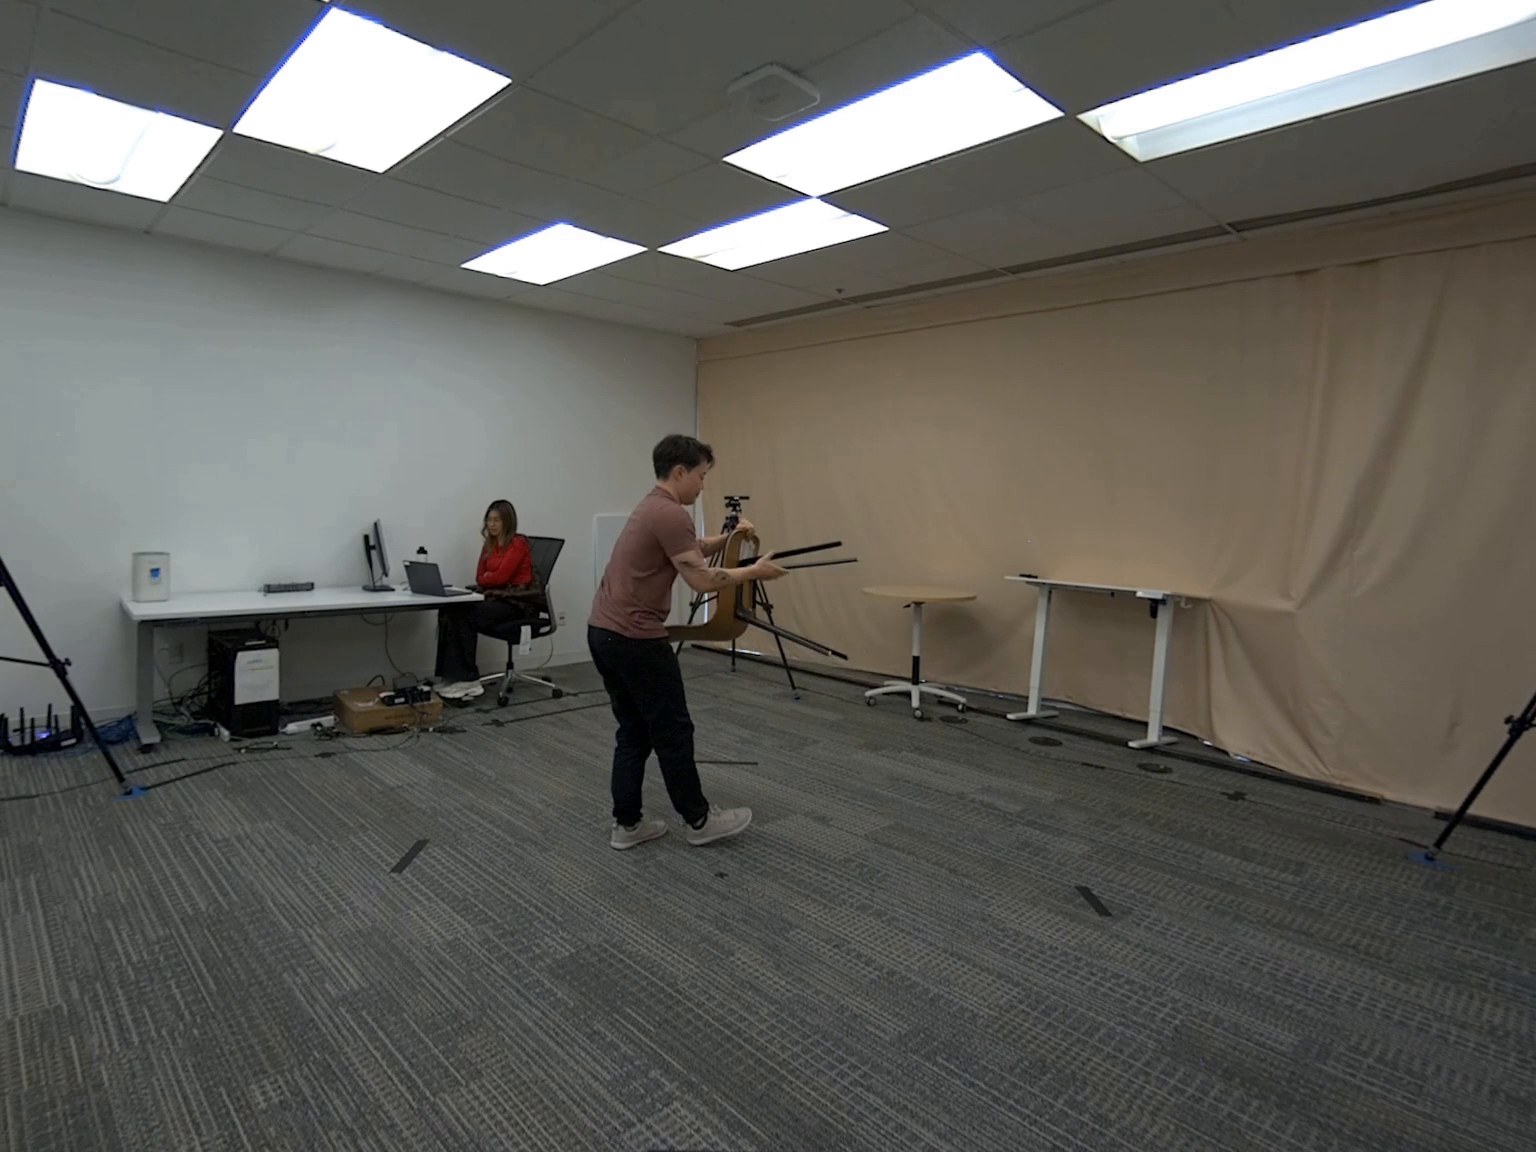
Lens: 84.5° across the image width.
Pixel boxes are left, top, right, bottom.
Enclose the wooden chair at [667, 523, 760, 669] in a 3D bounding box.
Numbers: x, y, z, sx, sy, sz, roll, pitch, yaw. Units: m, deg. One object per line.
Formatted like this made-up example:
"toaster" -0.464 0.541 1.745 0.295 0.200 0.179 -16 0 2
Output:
"wooden chair" -0.098 0.076 3.635 0.889 0.526 0.469 1 -8 16
